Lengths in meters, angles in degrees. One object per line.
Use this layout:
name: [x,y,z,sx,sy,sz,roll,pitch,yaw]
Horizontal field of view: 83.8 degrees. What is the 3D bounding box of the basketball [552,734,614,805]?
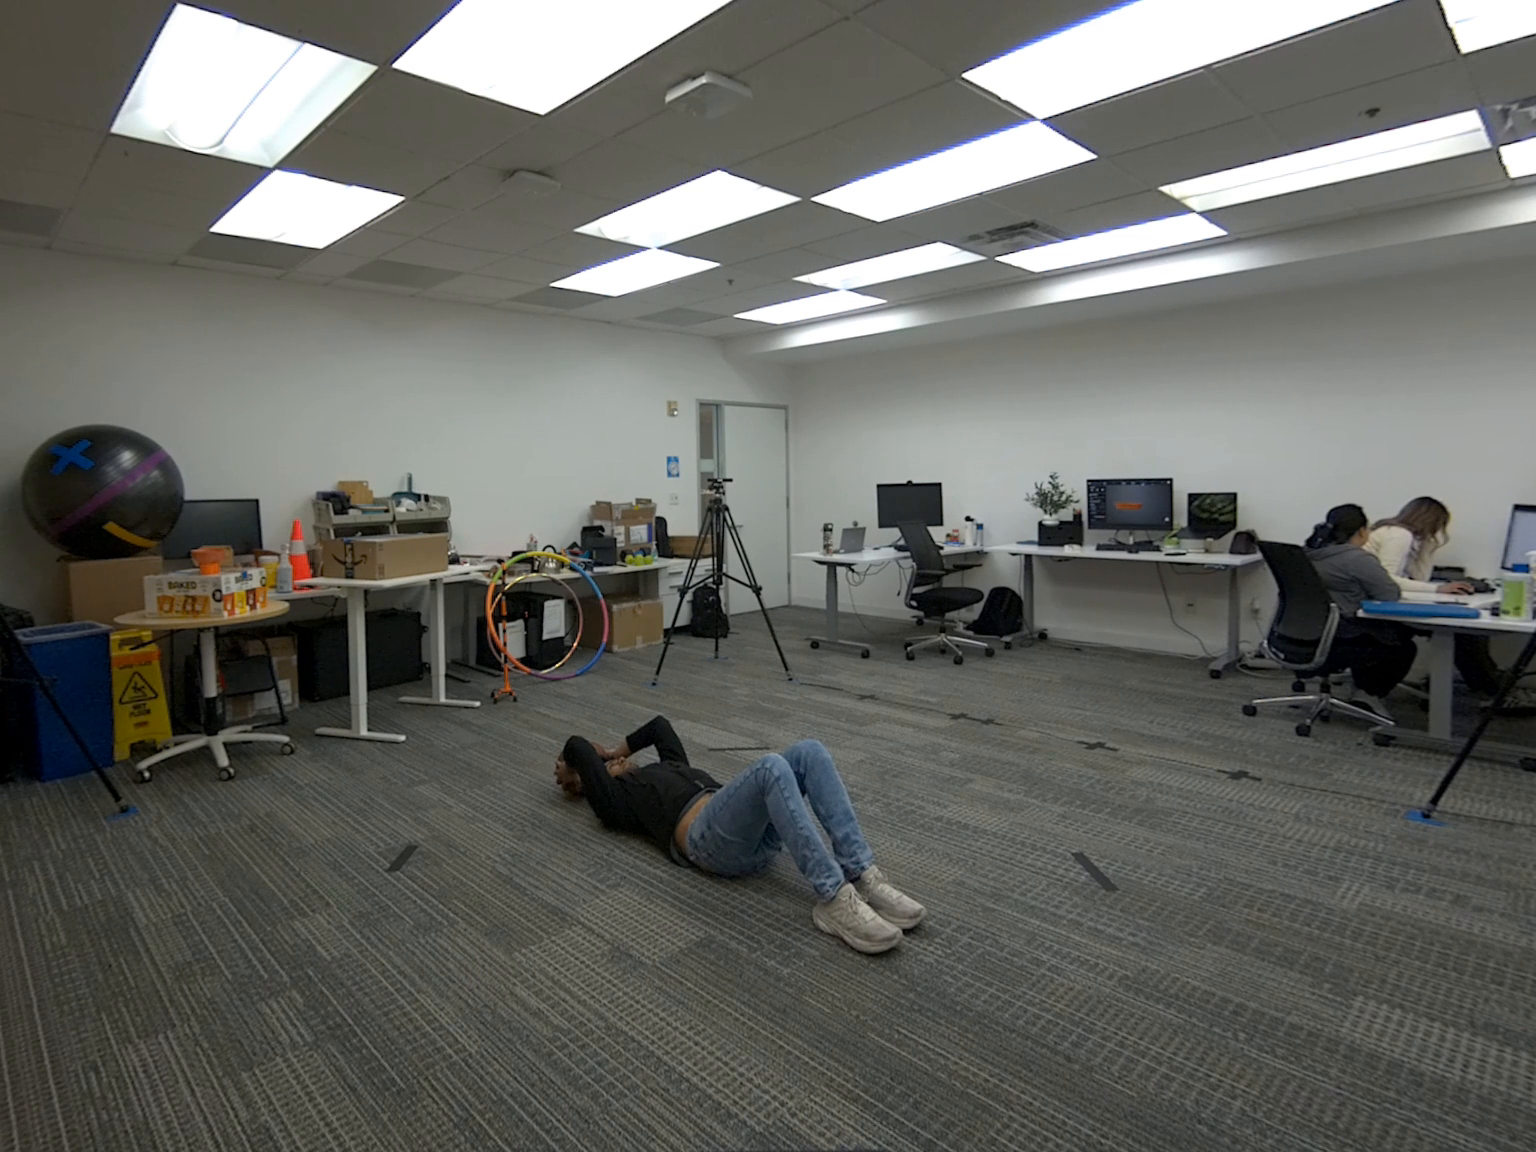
basketball: [-0.824,0.860,3.842,0.236,0.235,0.237,-1,5,-2]
